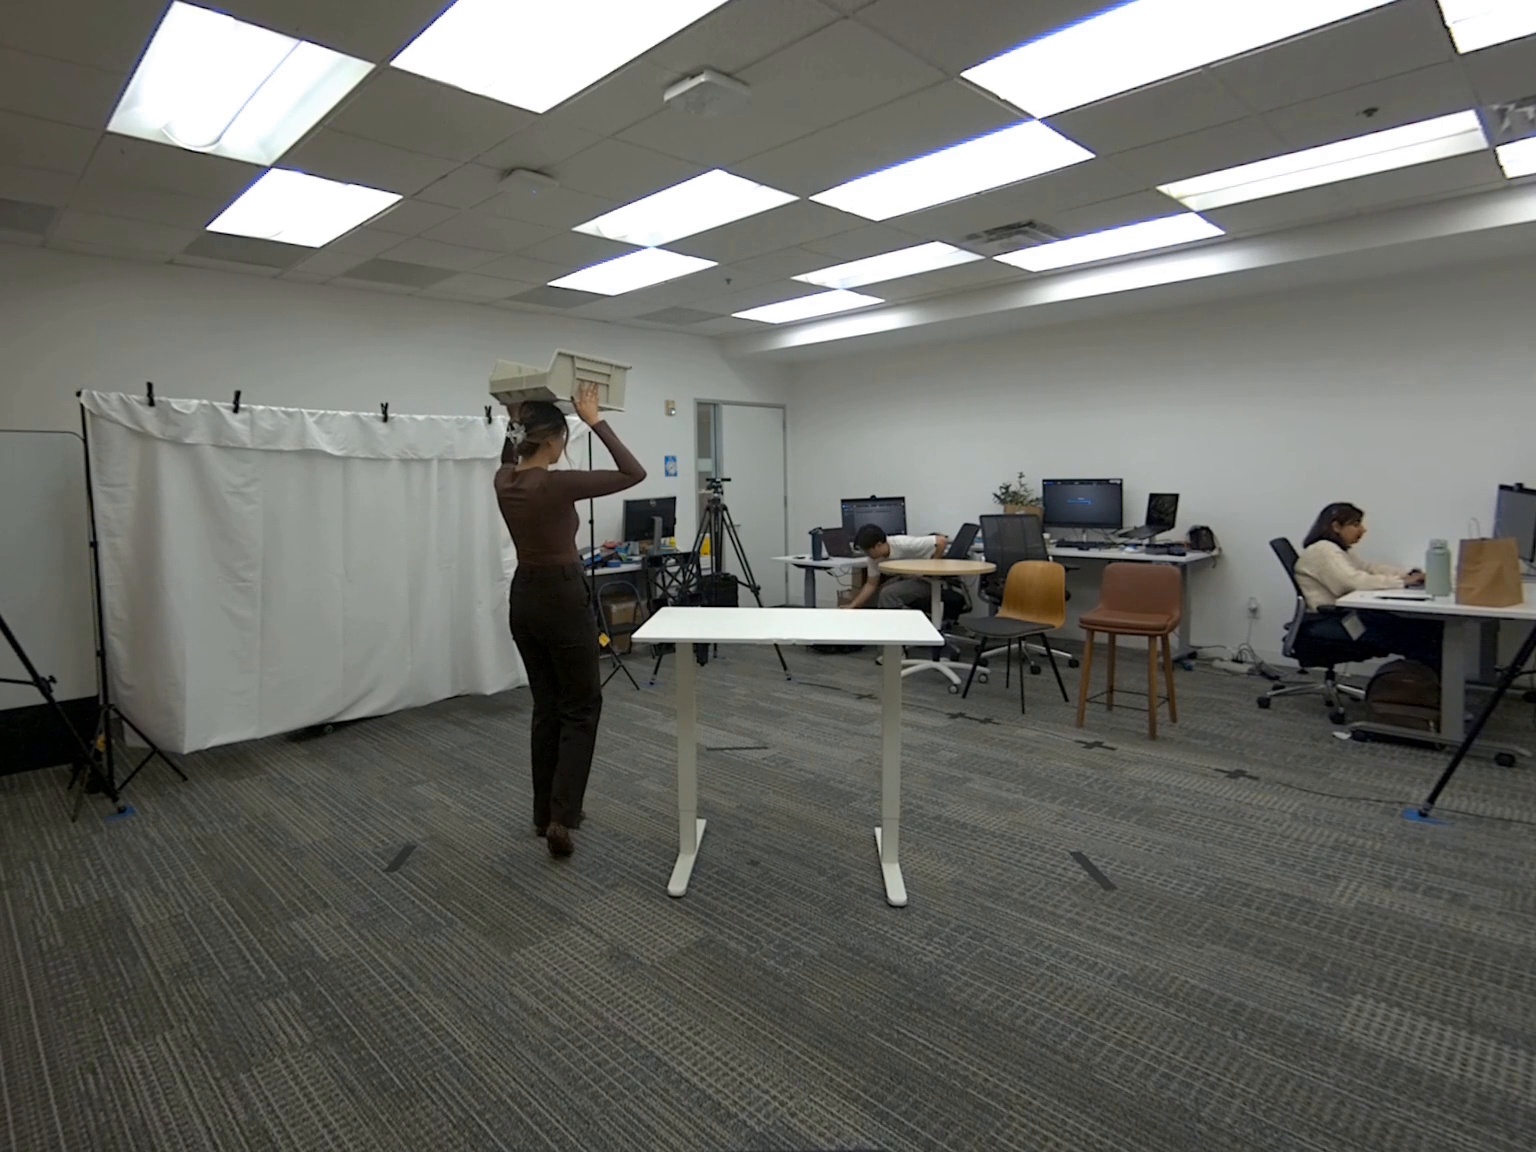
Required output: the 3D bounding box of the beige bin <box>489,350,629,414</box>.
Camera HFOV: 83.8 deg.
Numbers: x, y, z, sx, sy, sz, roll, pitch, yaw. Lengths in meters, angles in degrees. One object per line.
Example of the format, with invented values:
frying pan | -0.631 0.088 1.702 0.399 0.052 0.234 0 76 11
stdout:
beige bin | -0.809 -0.743 3.319 0.436 0.189 0.366 7 3 44
